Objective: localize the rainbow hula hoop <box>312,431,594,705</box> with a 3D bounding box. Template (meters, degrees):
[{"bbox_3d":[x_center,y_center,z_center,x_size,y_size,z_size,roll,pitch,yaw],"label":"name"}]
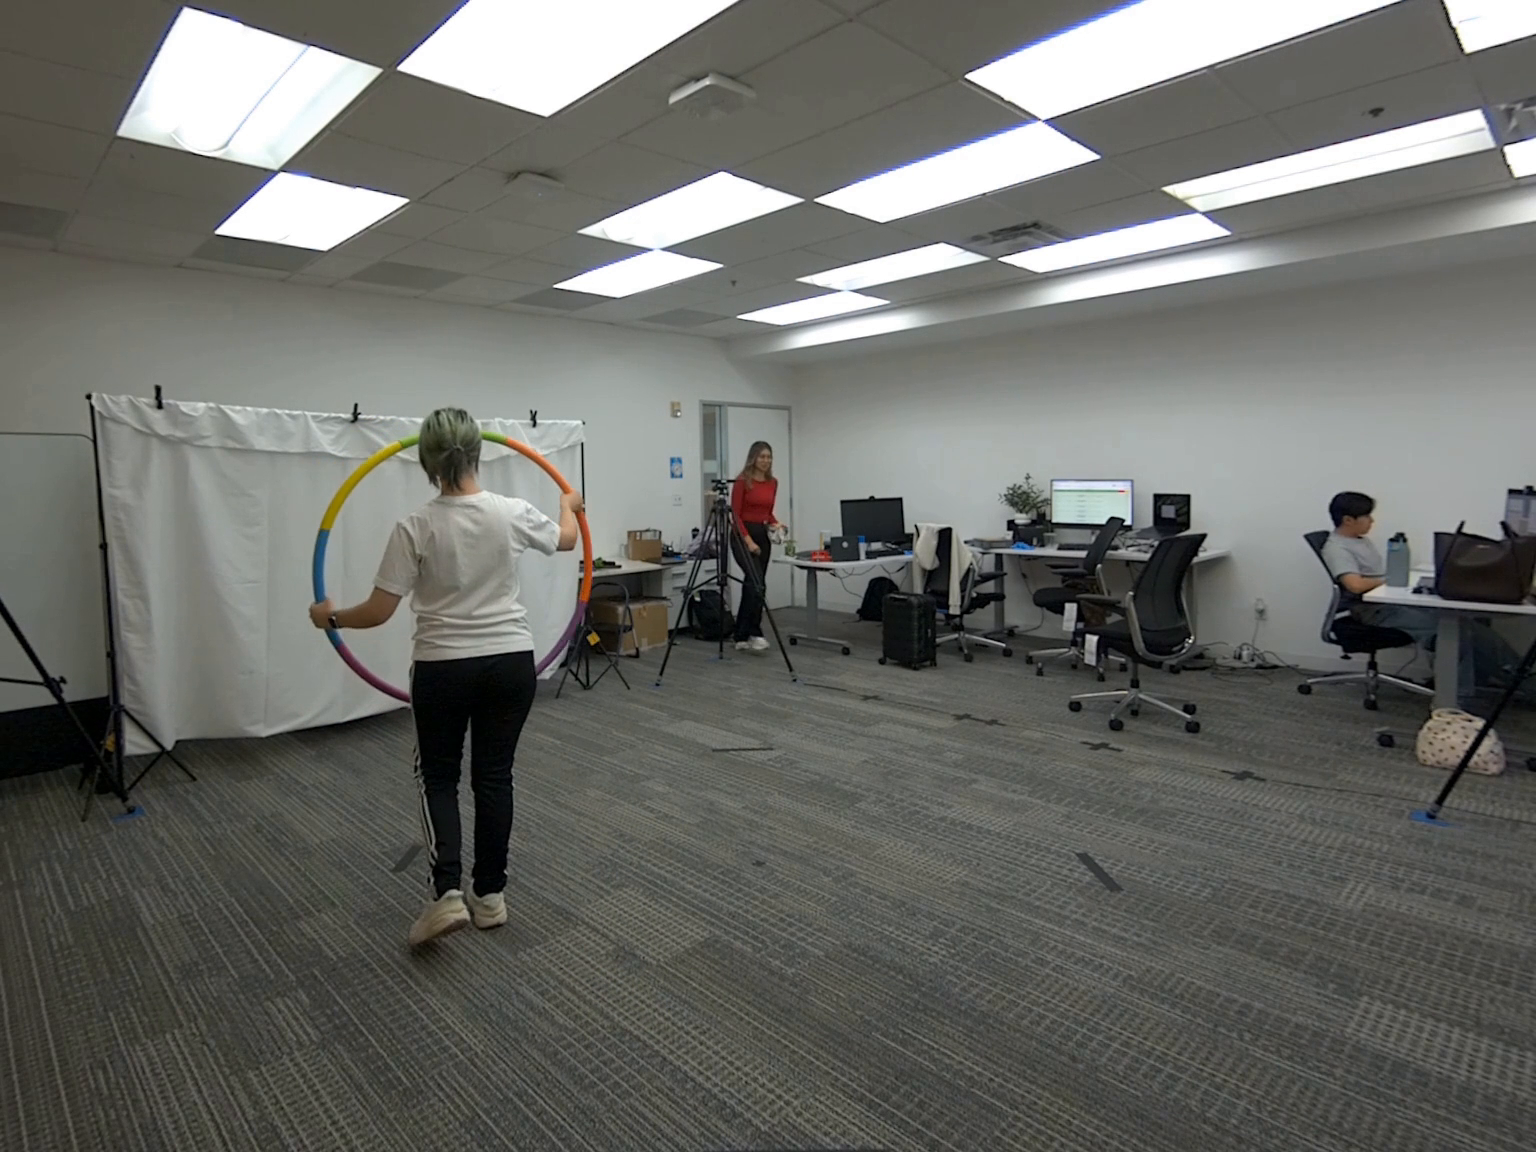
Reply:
[{"bbox_3d":[-1.062,-0.022,2.993,0.953,0.975,0.036,-5,6,-37],"label":"rainbow hula hoop"}]
